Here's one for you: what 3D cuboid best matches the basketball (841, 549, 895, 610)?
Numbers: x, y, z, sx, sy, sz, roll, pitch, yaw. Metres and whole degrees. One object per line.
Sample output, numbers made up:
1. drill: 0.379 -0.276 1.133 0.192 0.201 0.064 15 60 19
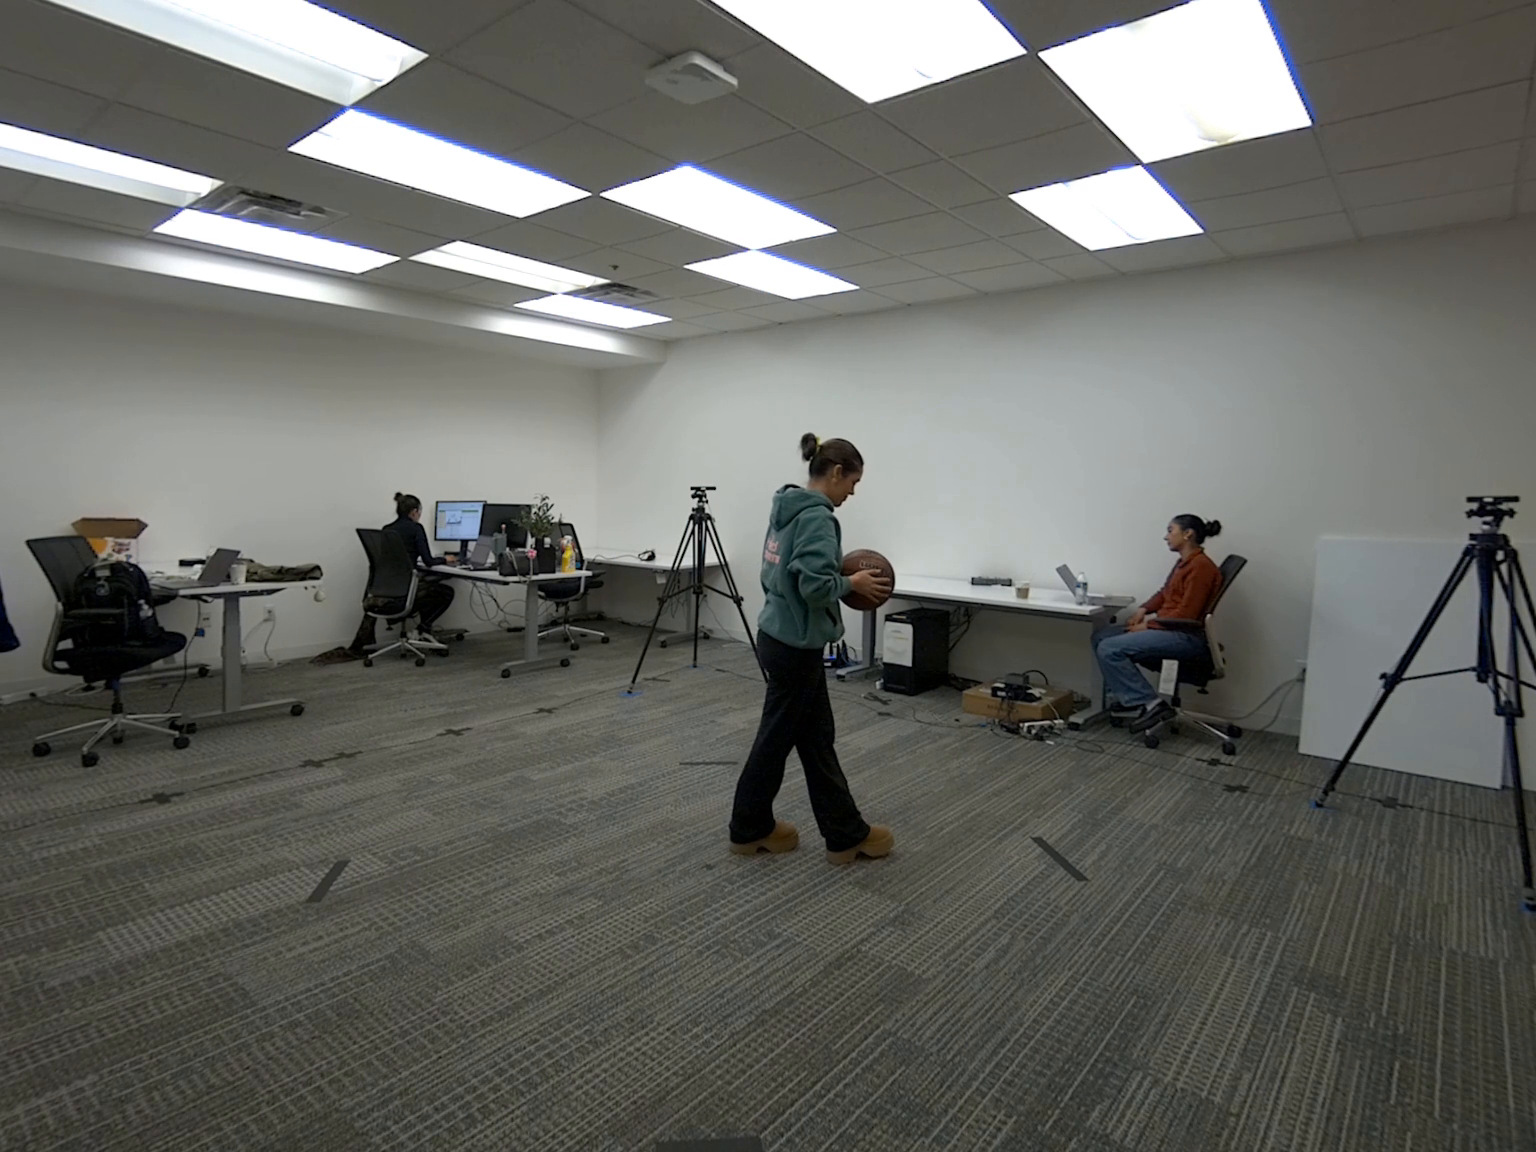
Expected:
1. basketball: 0.362 0.011 3.257 0.235 0.235 0.237 1 4 -2
